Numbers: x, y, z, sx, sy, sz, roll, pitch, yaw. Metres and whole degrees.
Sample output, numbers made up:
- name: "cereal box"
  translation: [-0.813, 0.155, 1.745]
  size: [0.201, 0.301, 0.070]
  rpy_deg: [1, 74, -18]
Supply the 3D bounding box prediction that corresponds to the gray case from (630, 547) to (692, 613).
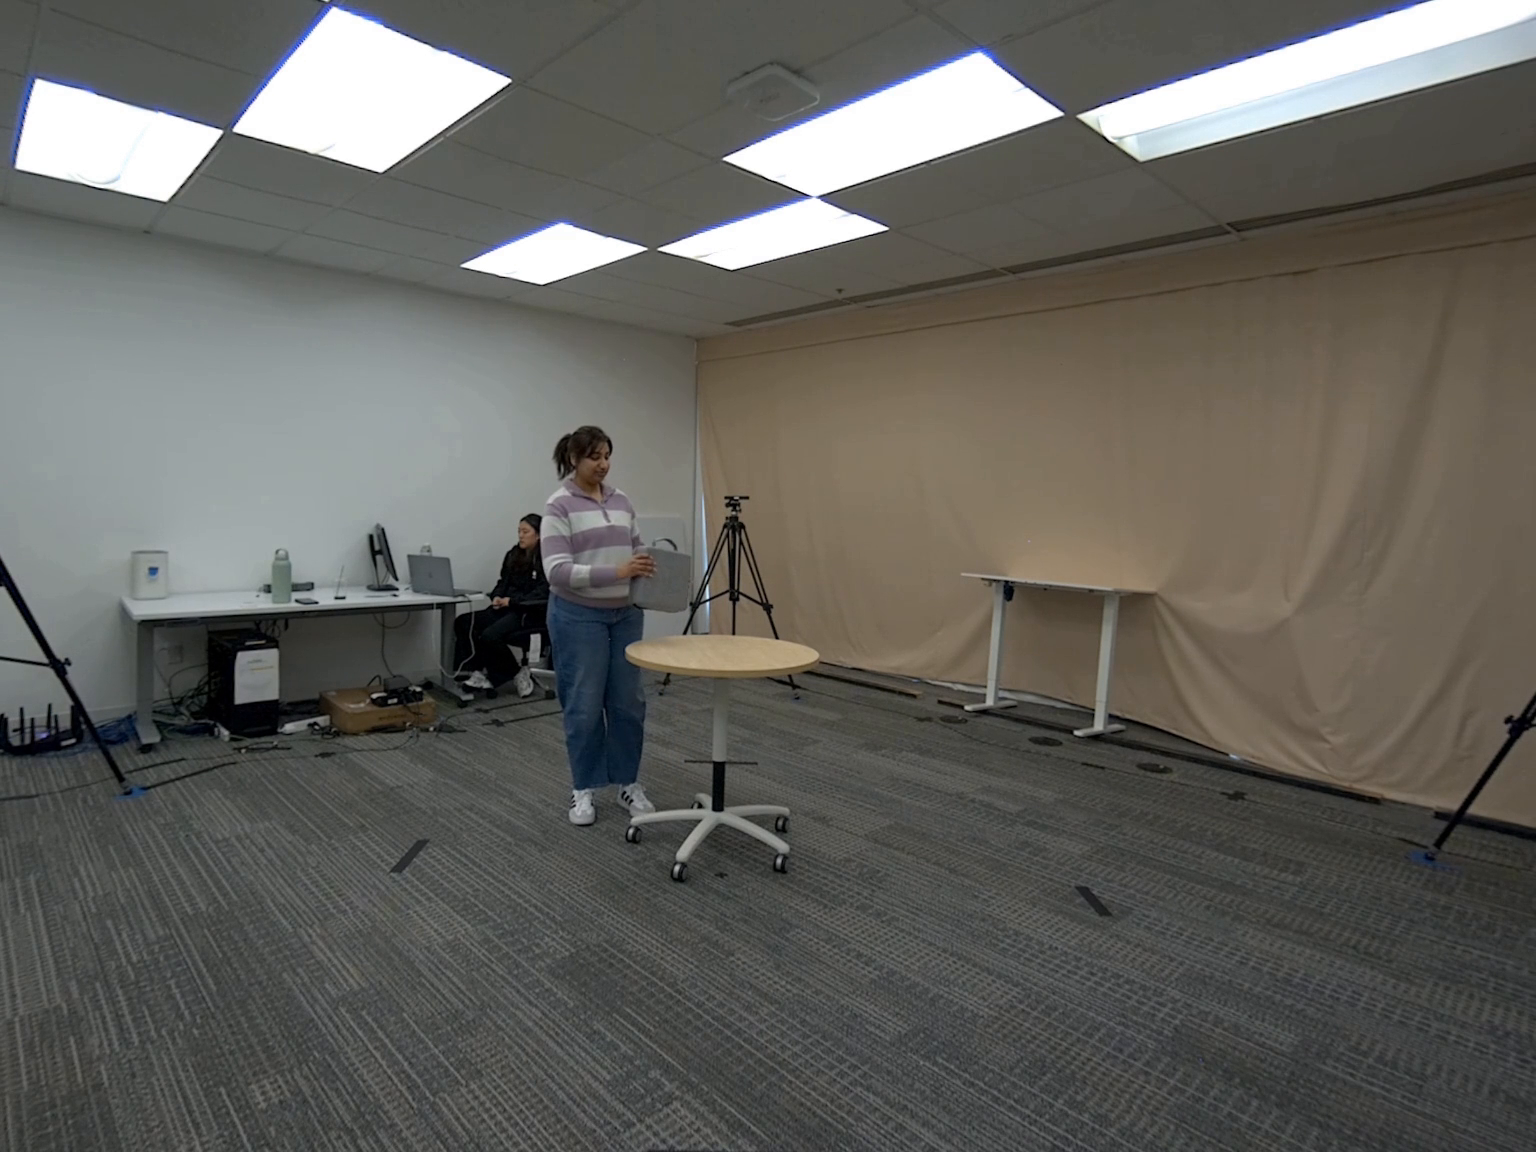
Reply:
- name: "gray case"
  translation: [-0.437, 0.012, 3.461]
  size: [0.252, 0.261, 0.106]
  rpy_deg: [9, -4, -21]
